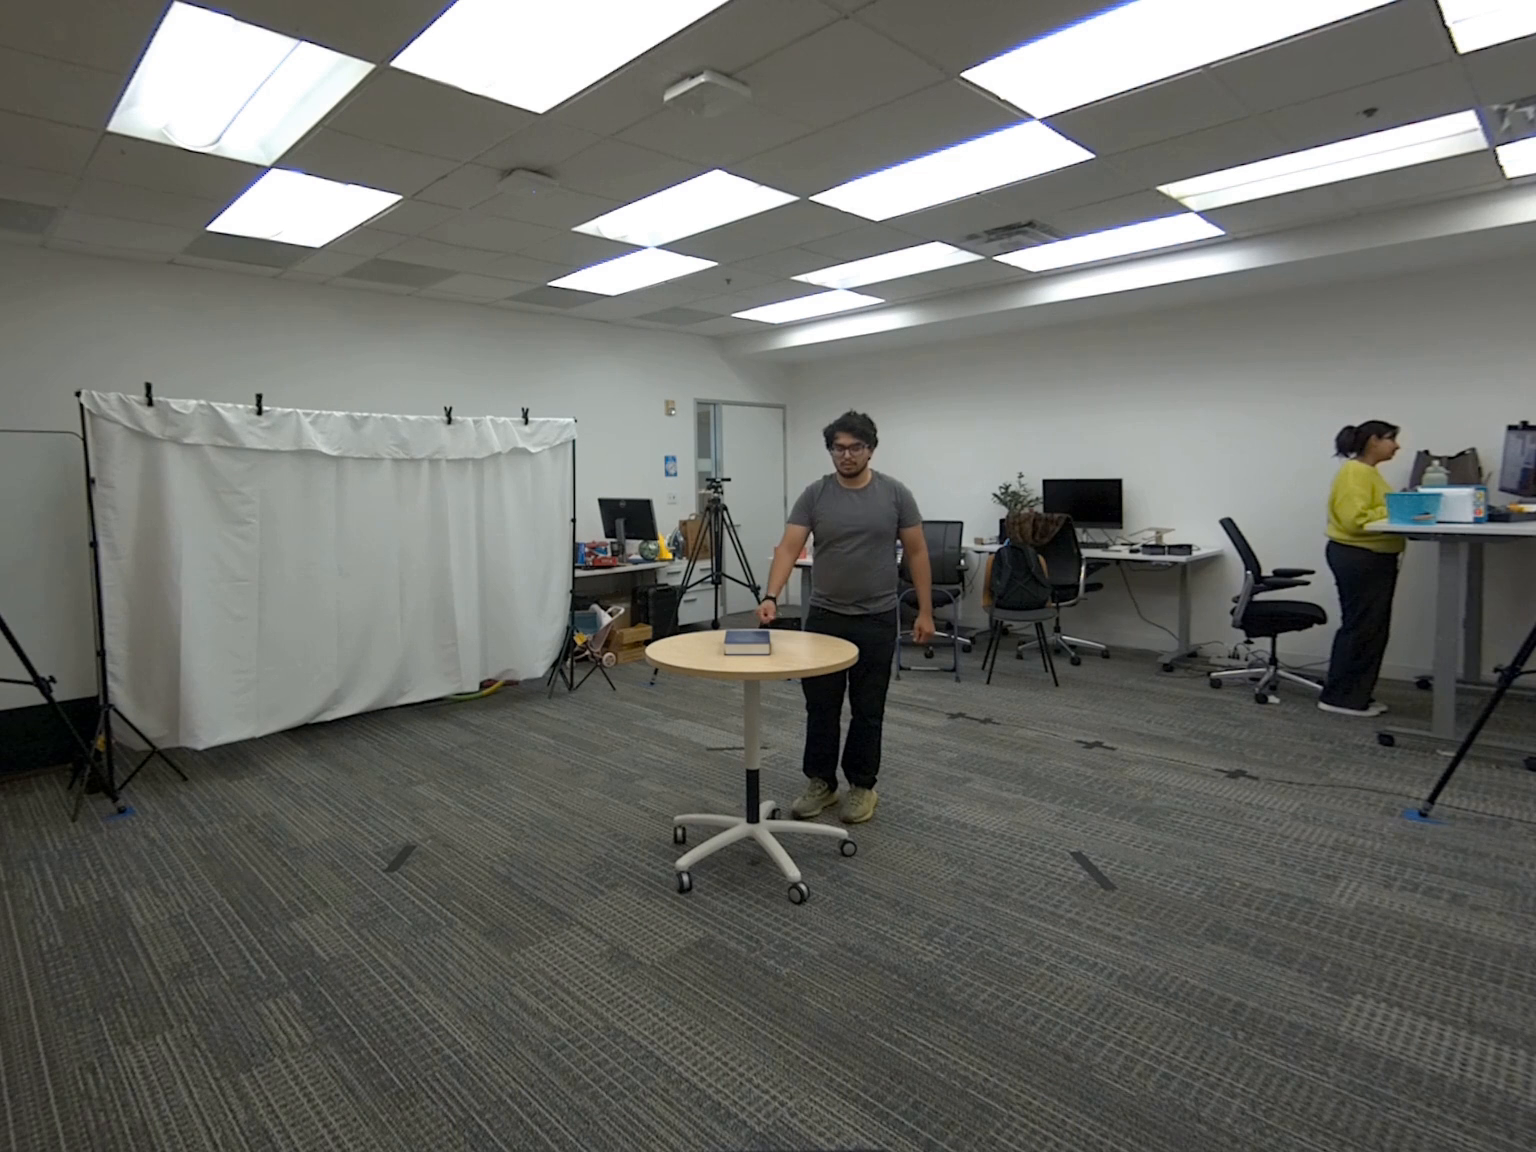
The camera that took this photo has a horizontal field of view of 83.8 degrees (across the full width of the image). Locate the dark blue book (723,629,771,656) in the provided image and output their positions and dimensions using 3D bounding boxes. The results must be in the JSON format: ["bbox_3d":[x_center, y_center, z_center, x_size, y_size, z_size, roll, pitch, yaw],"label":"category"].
[{"bbox_3d":[-0.064,0.243,3.079,0.163,0.045,0.246,-1,6,0],"label":"dark blue book"}]
